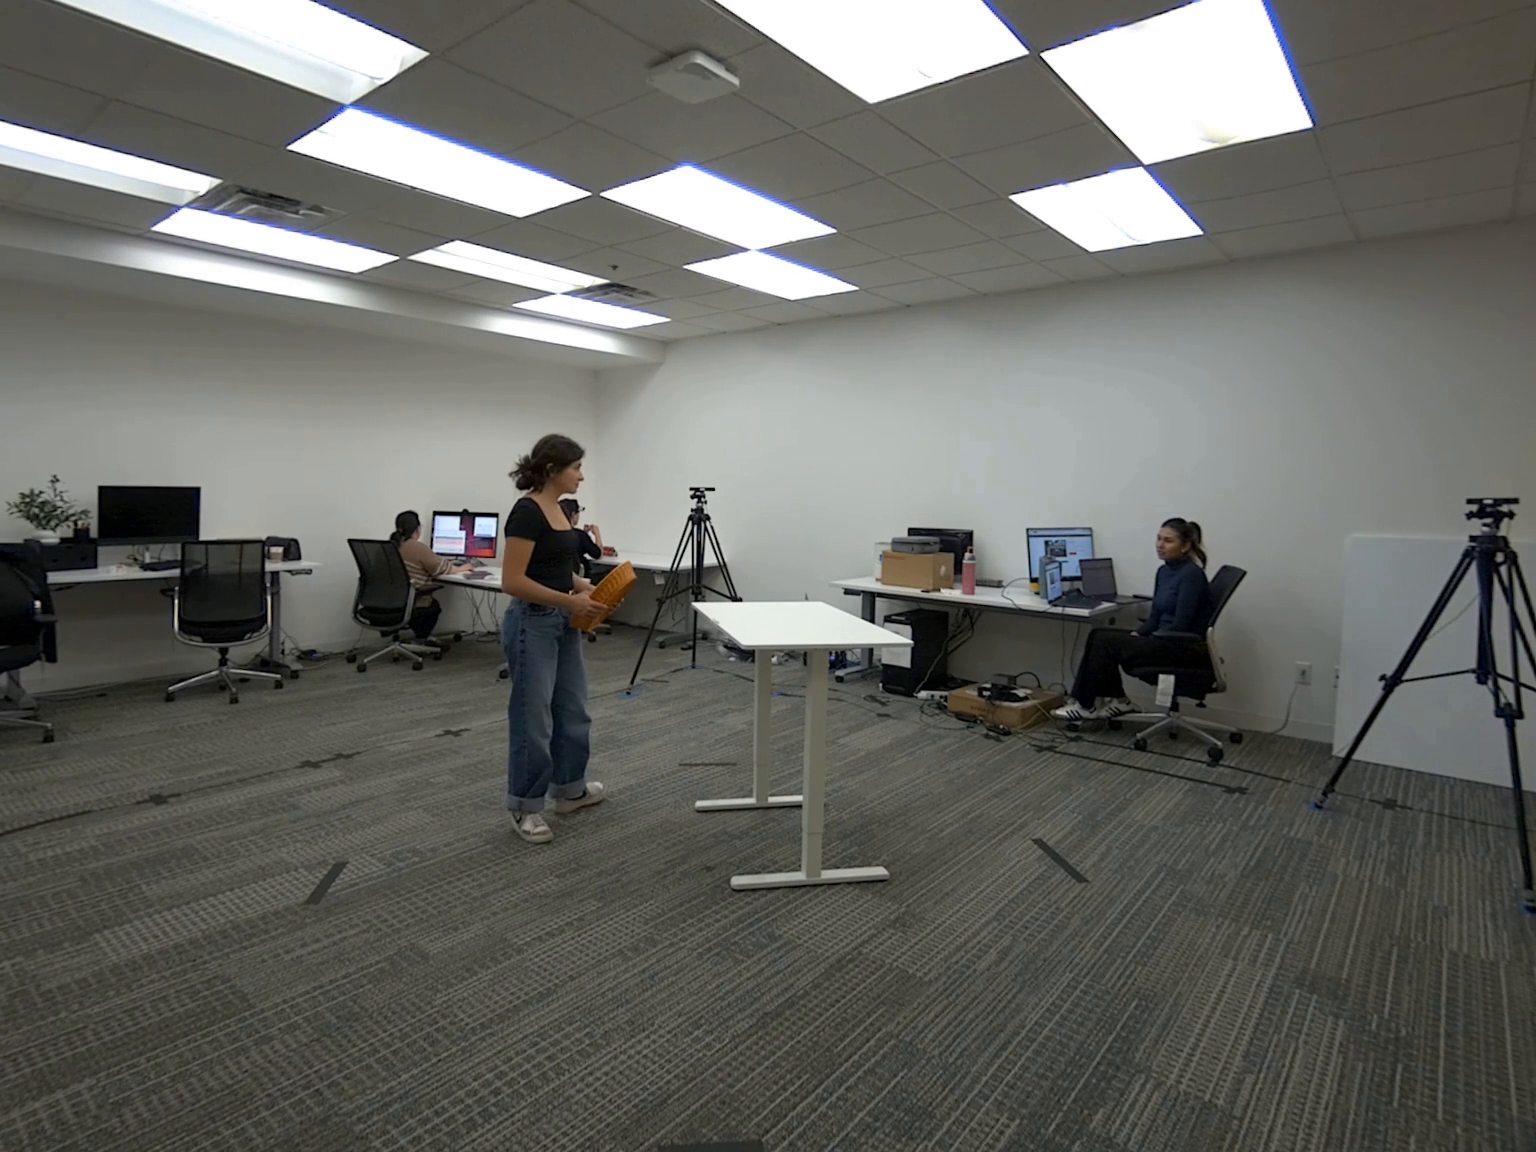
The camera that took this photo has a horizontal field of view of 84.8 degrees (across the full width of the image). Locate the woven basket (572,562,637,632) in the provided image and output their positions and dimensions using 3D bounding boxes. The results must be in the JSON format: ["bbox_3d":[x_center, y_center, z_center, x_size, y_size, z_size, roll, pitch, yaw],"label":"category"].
[{"bbox_3d":[-0.654,0.089,3.333,0.074,0.350,0.250,42,14,3],"label":"woven basket"}]
